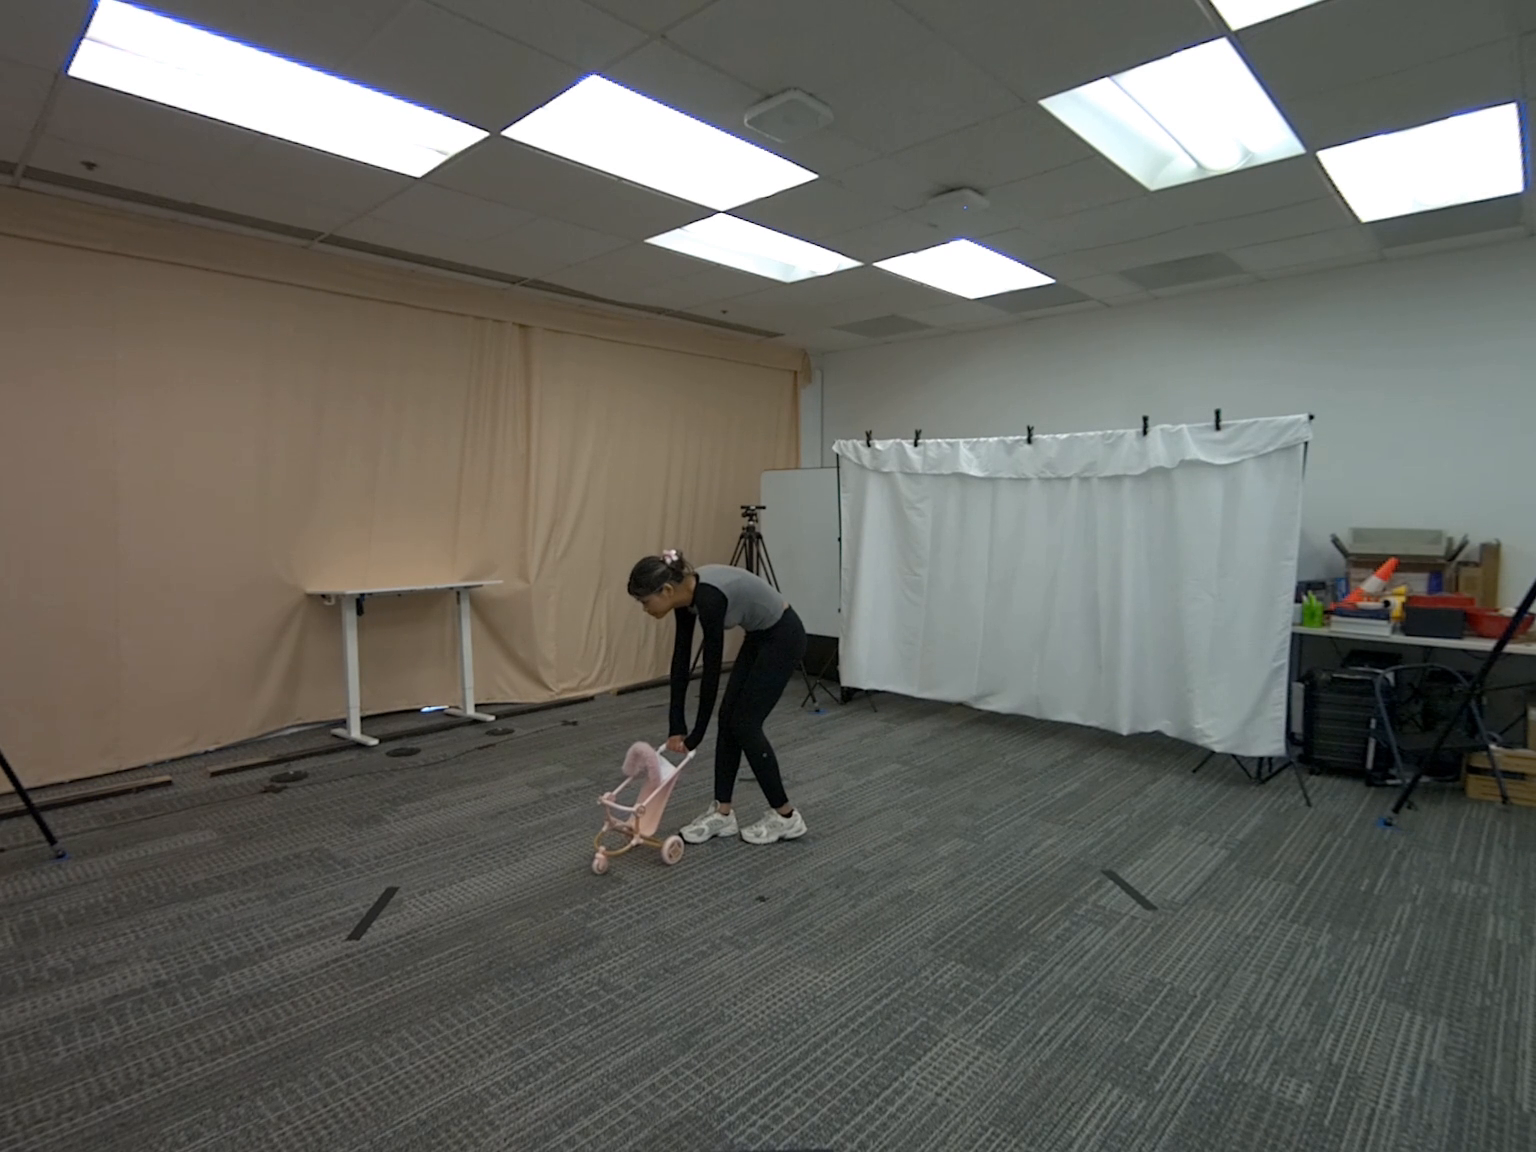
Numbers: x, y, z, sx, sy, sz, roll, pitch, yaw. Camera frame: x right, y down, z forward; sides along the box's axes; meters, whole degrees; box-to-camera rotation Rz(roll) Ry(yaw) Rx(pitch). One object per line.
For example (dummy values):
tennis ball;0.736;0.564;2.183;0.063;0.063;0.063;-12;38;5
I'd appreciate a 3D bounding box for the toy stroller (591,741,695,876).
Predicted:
toy stroller;-0.504;0.895;3.318;0.329;0.537;0.290;19;-11;-40
